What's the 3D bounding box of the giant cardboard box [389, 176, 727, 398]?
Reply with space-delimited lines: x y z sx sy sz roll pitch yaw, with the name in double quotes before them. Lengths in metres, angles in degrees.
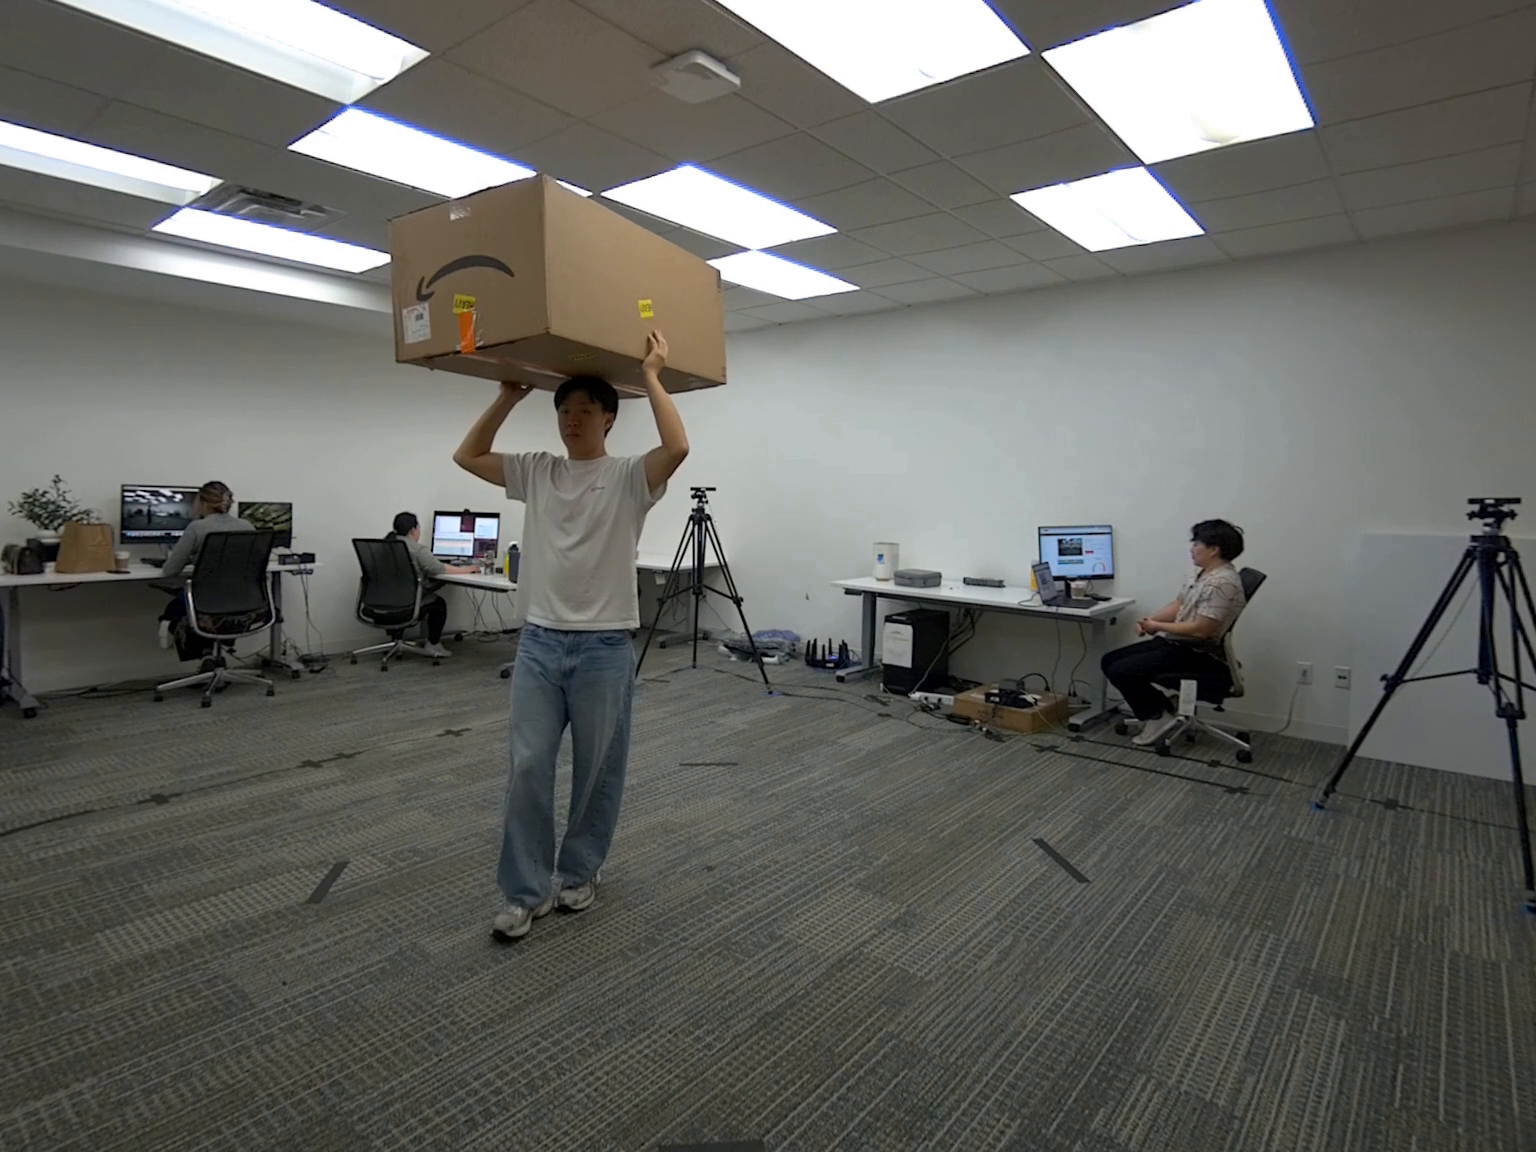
"giant cardboard box" -0.637 -0.864 2.792 0.592 0.426 1.002 -2 2 25
